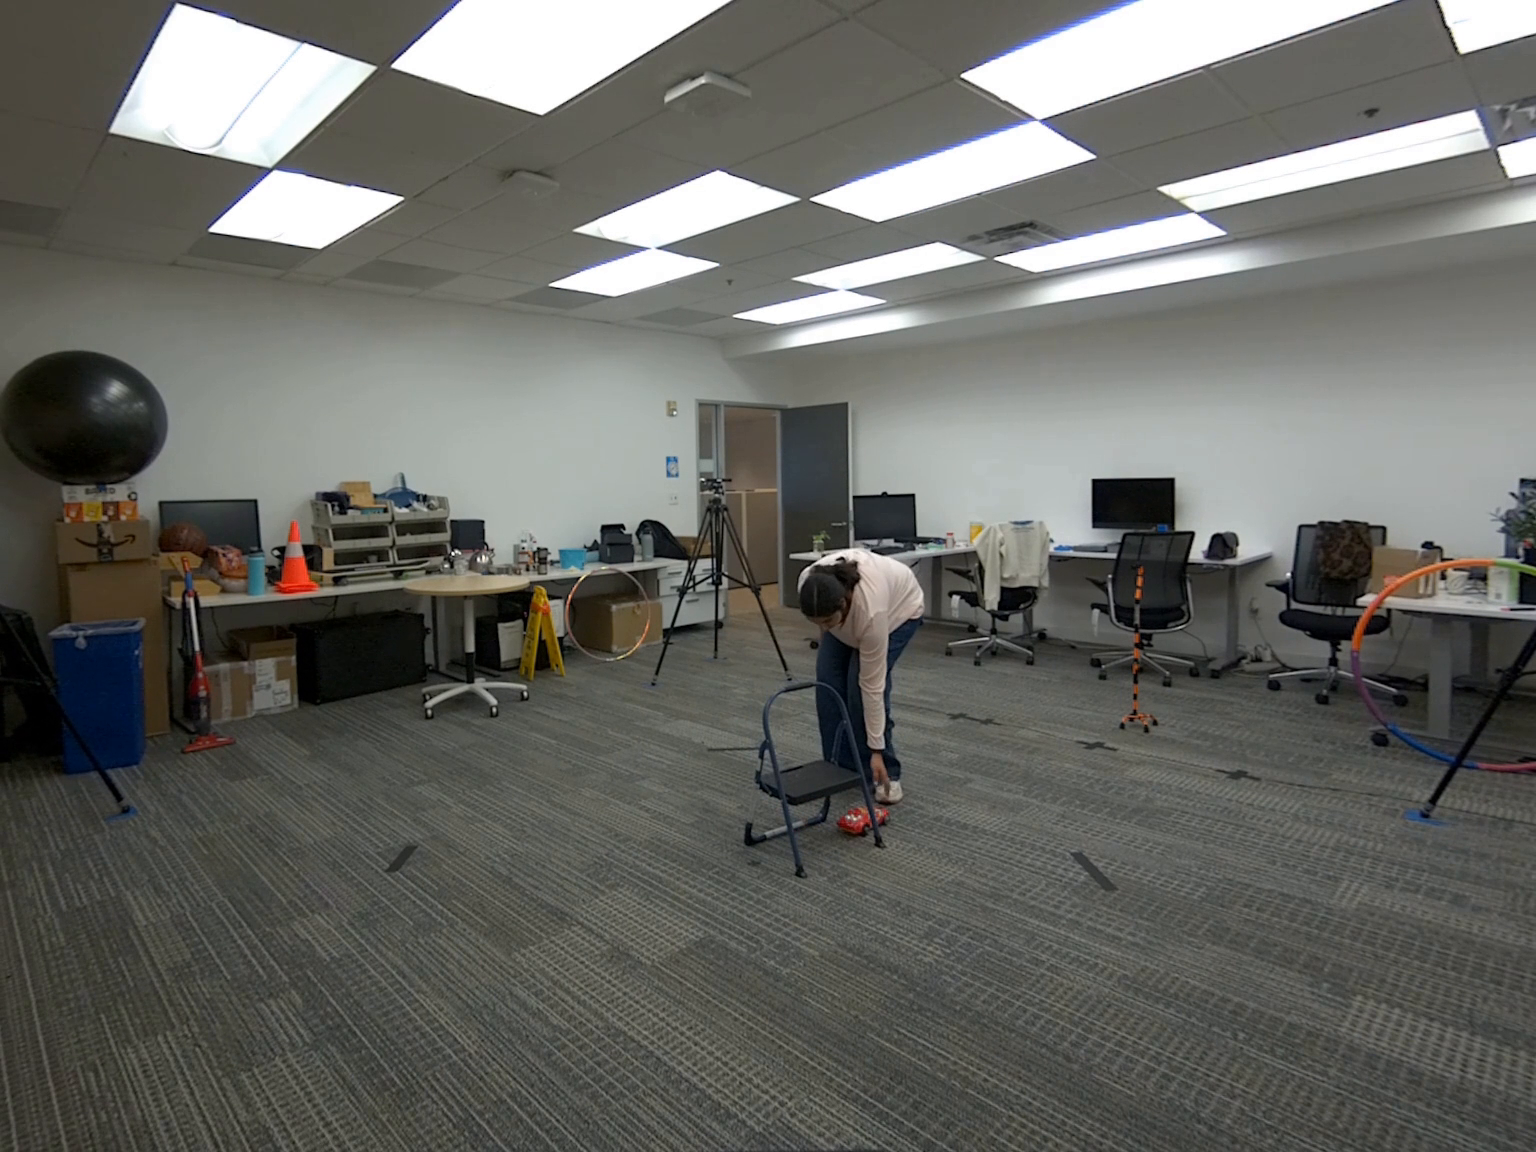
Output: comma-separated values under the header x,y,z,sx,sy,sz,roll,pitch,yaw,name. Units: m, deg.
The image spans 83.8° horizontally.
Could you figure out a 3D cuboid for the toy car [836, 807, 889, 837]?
x,y,z,sx,sy,sz,roll,pitch,yaw,name
0.378,0.975,3.403,0.134,0.083,0.246,3,-4,44,toy car
